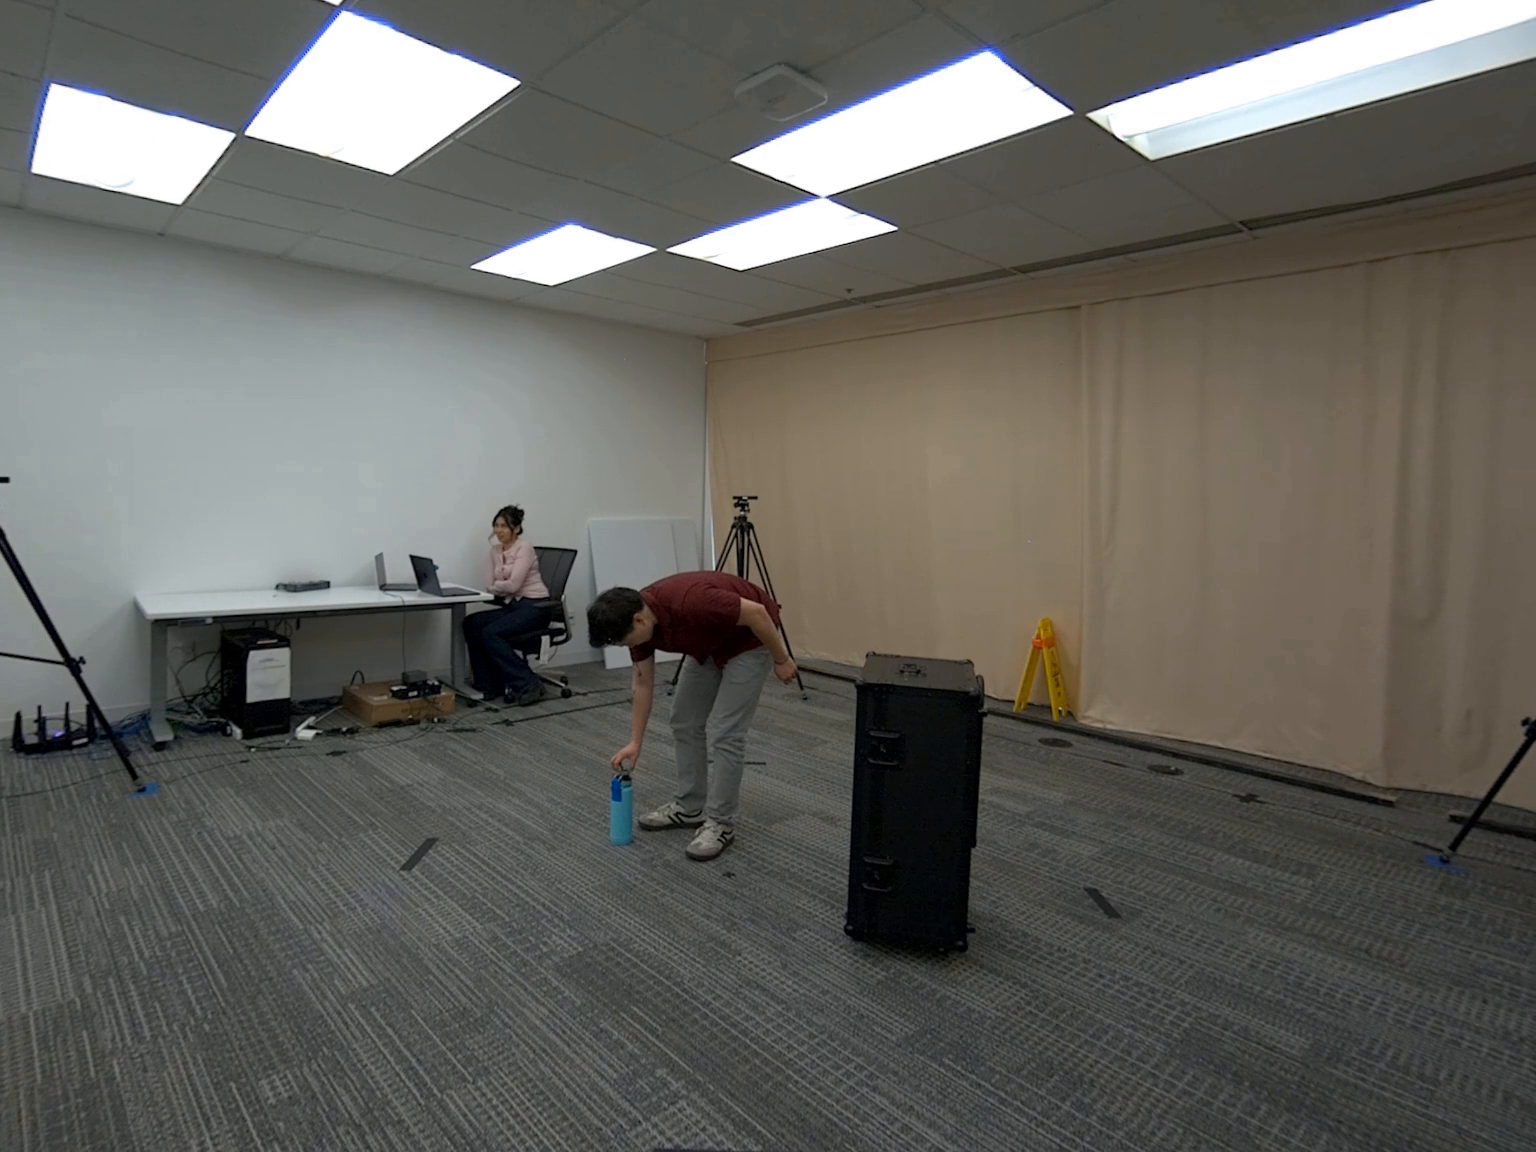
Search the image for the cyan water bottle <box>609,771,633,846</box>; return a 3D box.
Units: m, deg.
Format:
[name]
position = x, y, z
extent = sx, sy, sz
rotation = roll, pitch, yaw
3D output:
[cyan water bottle]
position = -0.586, 0.922, 3.373
extent = 0.092, 0.282, 0.093
rotation = 5, 4, -2
